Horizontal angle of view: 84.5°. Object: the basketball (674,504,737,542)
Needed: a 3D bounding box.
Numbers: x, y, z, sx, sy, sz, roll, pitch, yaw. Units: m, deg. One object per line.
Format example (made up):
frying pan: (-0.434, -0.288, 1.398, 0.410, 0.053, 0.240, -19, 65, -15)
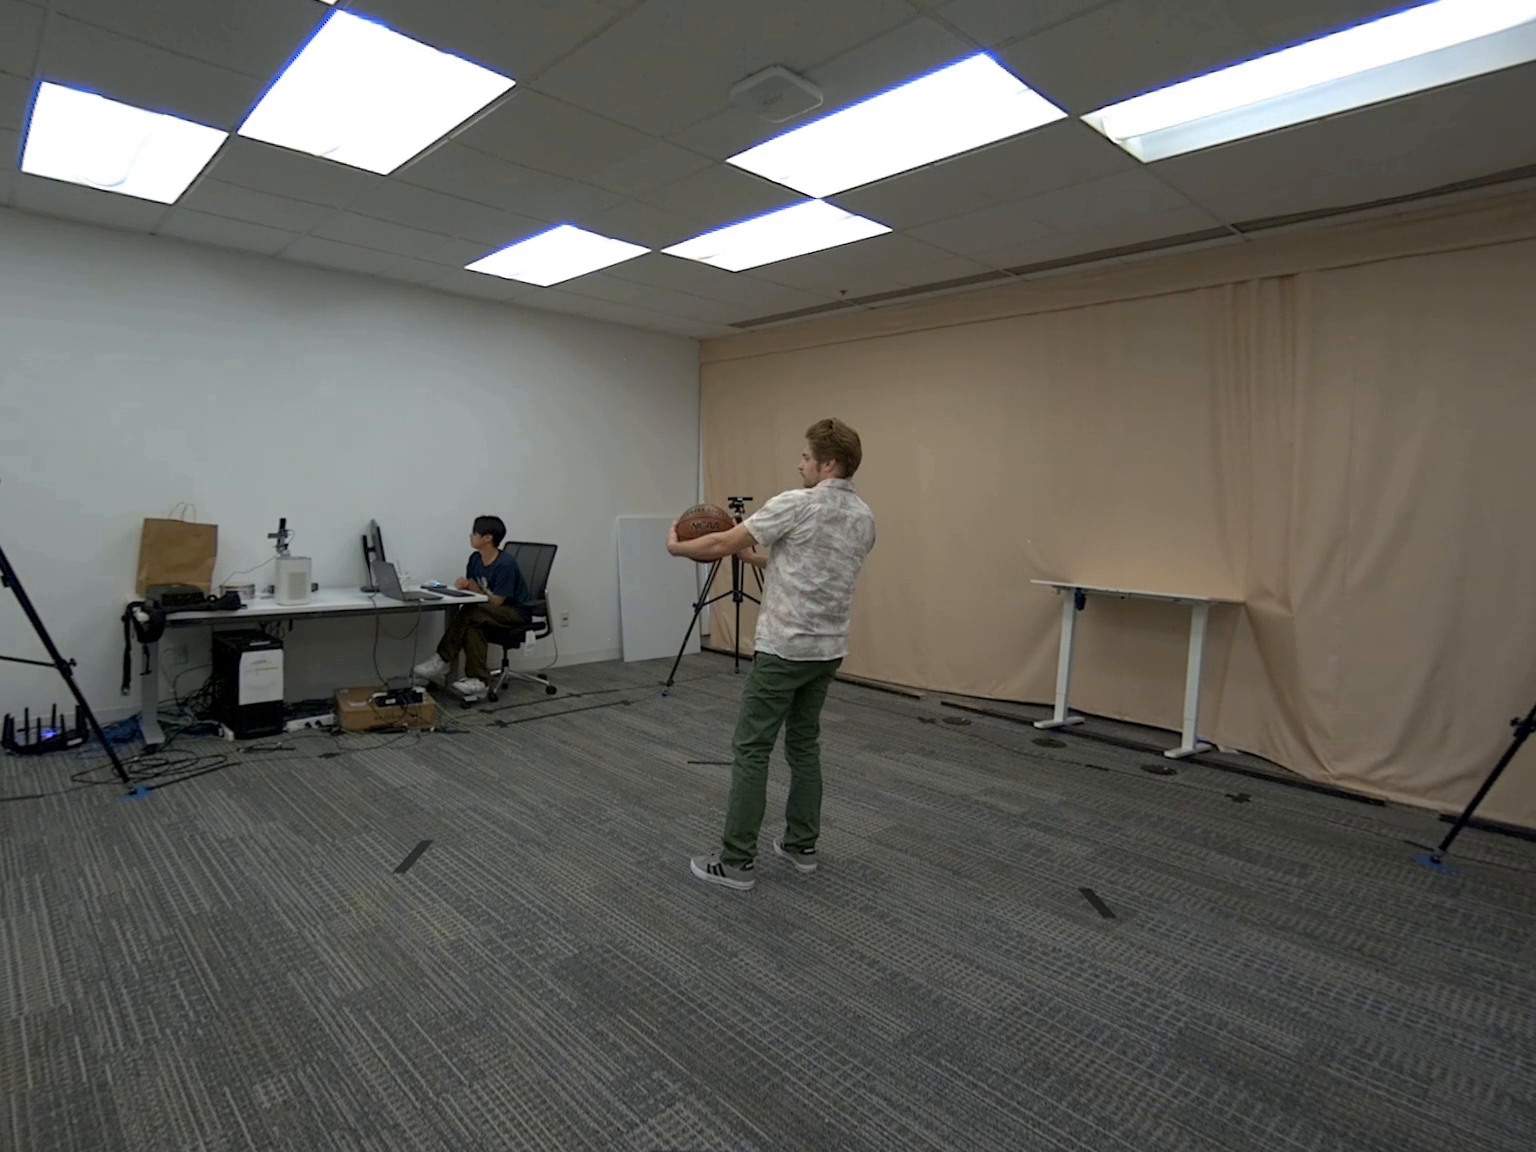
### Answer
basketball: (-0.245, -0.176, 3.382, 0.236, 0.235, 0.237, 1, 4, -1)
